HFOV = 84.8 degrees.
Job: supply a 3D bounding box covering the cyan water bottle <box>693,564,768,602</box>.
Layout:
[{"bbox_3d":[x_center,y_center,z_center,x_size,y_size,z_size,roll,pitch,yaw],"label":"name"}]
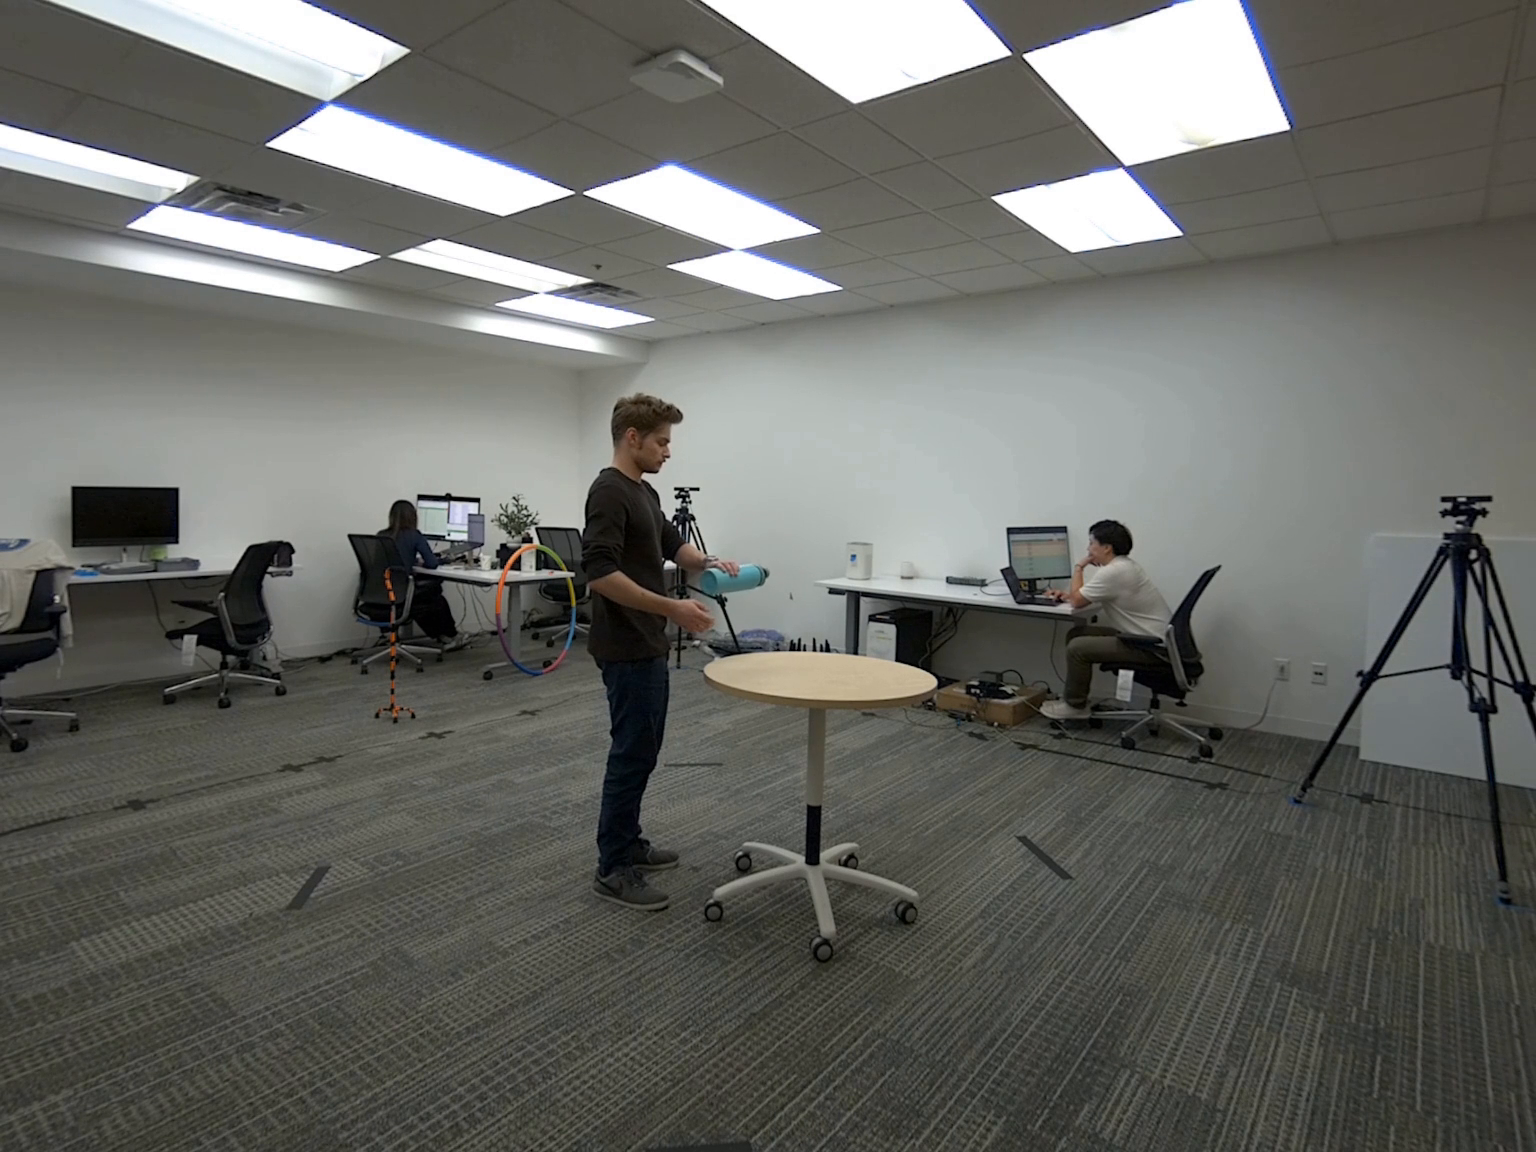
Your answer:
[{"bbox_3d":[-0.121,0.010,2.955,0.095,0.092,0.275,5,9,42],"label":"cyan water bottle"}]
